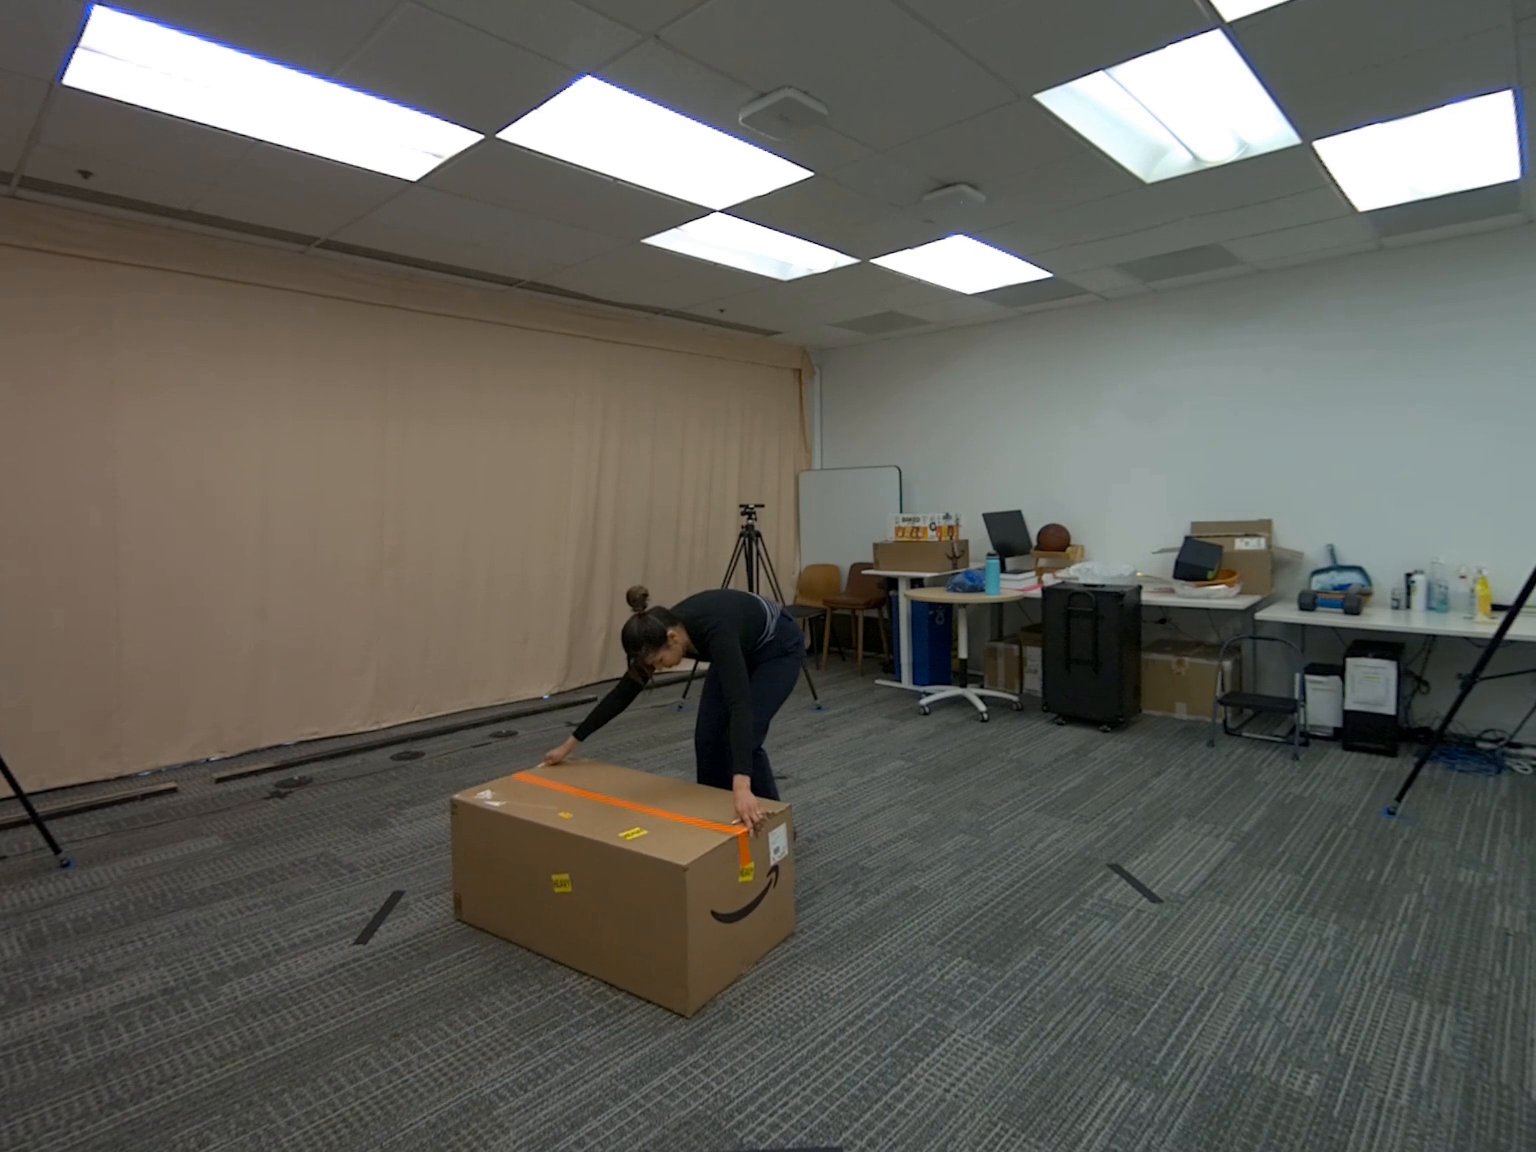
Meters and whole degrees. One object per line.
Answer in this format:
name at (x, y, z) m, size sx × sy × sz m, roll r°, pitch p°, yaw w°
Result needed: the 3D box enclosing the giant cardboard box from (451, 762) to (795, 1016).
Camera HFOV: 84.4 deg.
giant cardboard box at (-0.497, 0.951, 2.799) m, size 1.057 × 0.425 × 0.561 m, roll 2°, pitch 5°, yaw 34°
